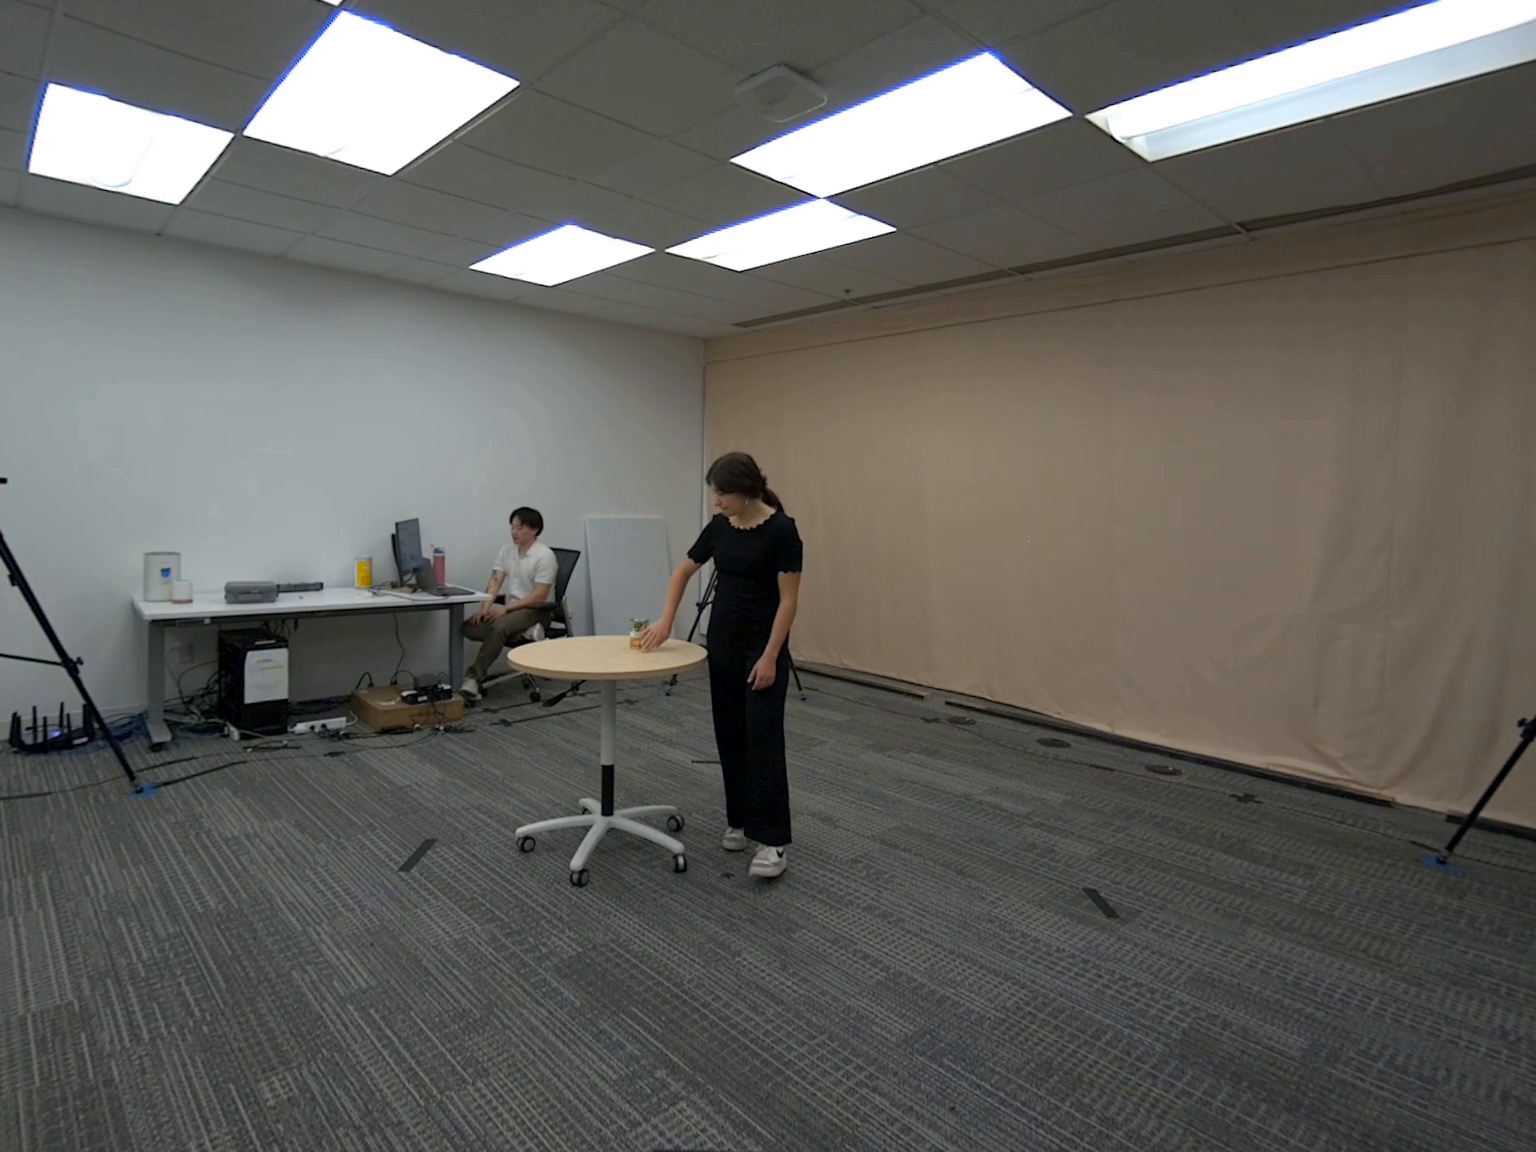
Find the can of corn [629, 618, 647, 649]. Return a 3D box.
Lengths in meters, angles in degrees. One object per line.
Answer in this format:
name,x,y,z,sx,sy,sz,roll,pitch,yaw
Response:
can of corn,-0.519,0.230,3.369,0.074,0.111,0.074,3,3,-2
